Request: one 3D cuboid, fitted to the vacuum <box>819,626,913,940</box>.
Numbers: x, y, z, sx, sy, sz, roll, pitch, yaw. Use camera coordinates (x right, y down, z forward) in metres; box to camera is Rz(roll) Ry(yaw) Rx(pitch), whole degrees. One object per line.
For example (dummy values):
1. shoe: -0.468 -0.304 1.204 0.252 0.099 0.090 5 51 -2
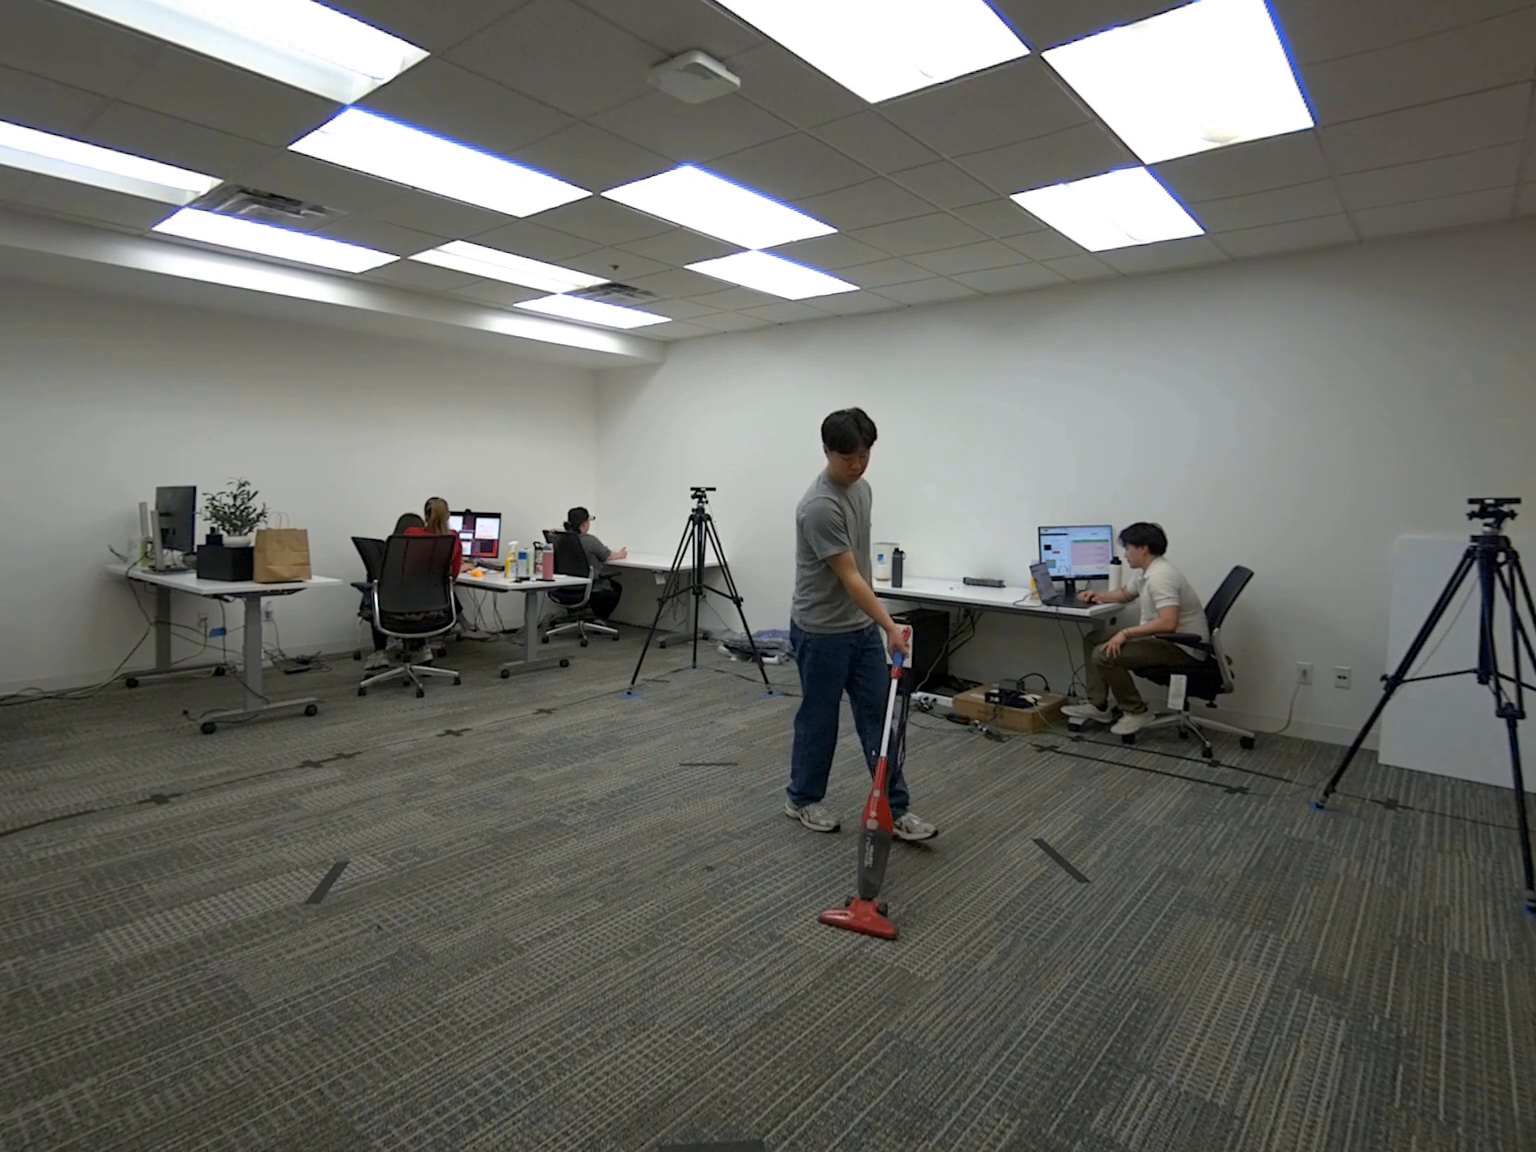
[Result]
1. vacuum: 0.411 0.663 2.998 0.258 1.067 0.138 4 -32 18
